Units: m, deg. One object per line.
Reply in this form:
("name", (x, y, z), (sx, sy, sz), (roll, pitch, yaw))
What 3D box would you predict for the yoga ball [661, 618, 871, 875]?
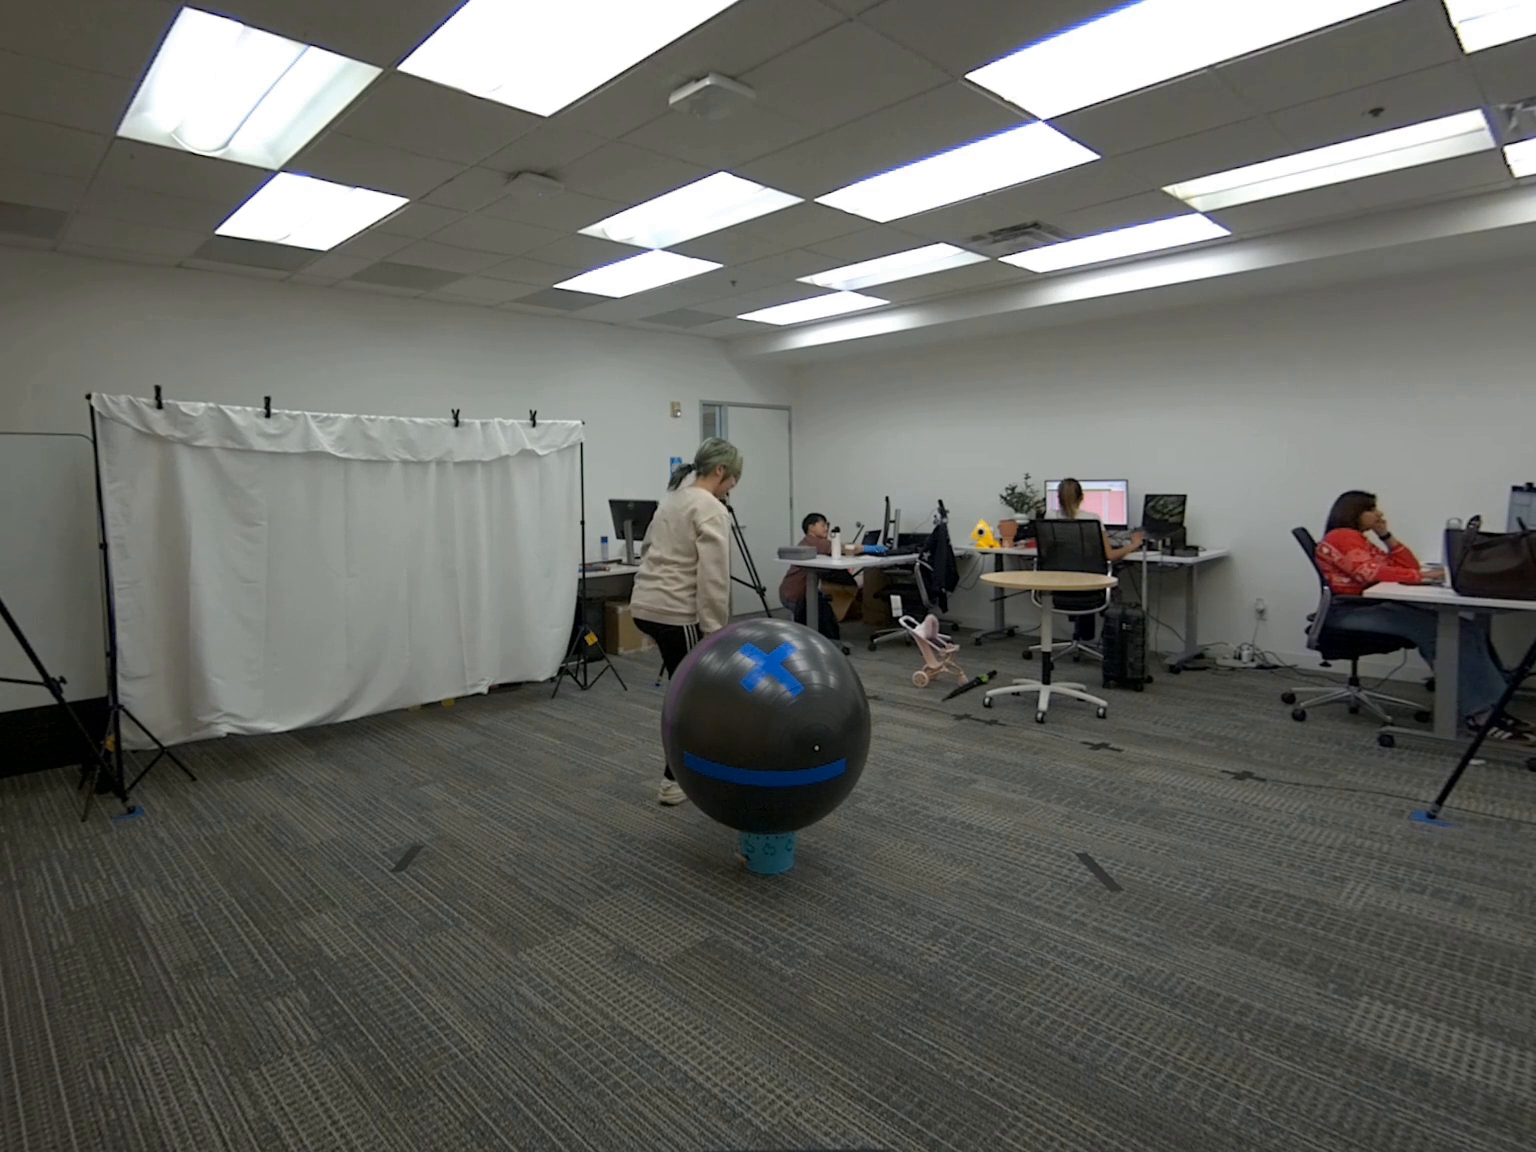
("yoga ball", (-0.012, 0.533, 3.090), (0.757, 0.755, 0.762), (-1, 5, -2))
